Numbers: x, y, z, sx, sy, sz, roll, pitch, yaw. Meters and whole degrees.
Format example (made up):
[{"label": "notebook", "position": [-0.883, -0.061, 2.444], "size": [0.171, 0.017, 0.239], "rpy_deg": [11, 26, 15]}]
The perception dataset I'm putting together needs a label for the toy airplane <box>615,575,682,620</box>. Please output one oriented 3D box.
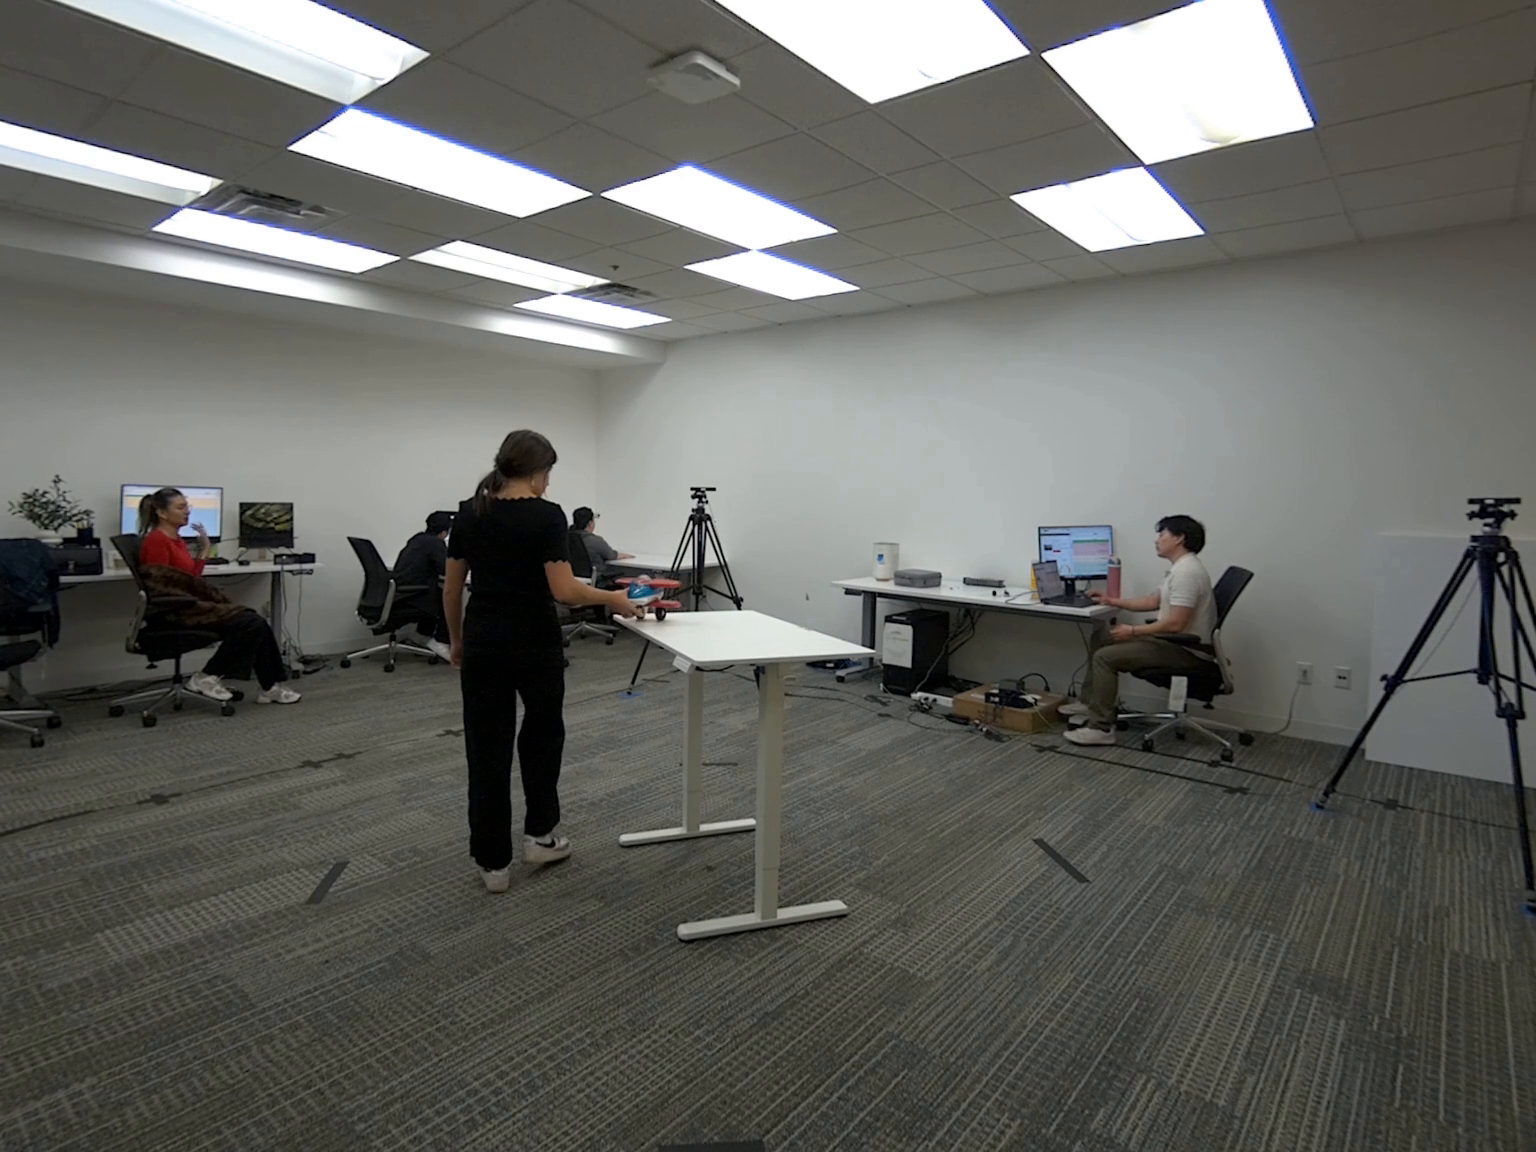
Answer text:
[{"label": "toy airplane", "position": [-0.458, 0.079, 3.205], "size": [0.248, 0.158, 0.261], "rpy_deg": [6, -8, -13]}]
